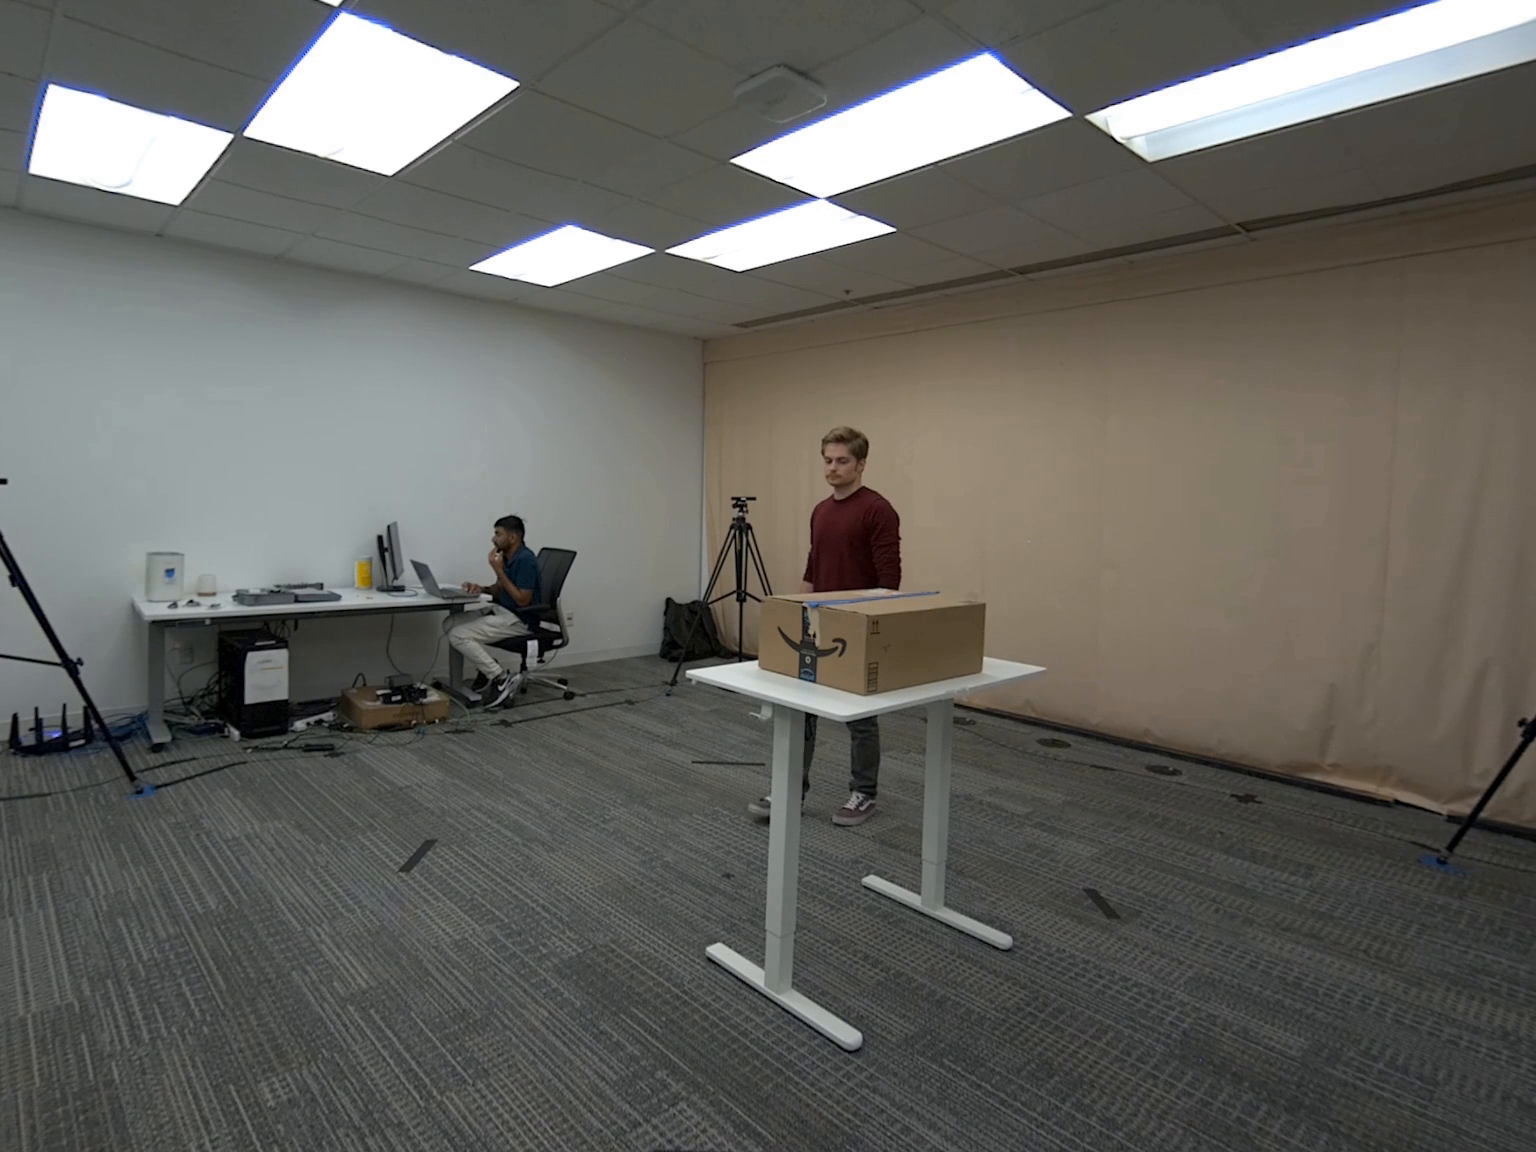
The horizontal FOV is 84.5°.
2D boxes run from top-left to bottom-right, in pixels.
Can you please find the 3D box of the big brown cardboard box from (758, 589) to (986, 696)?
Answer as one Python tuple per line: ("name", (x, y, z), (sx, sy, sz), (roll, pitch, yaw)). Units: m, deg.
("big brown cardboard box", (0.317, 0.181, 2.536), (0.576, 0.232, 0.428), (-4, 7, -43))
